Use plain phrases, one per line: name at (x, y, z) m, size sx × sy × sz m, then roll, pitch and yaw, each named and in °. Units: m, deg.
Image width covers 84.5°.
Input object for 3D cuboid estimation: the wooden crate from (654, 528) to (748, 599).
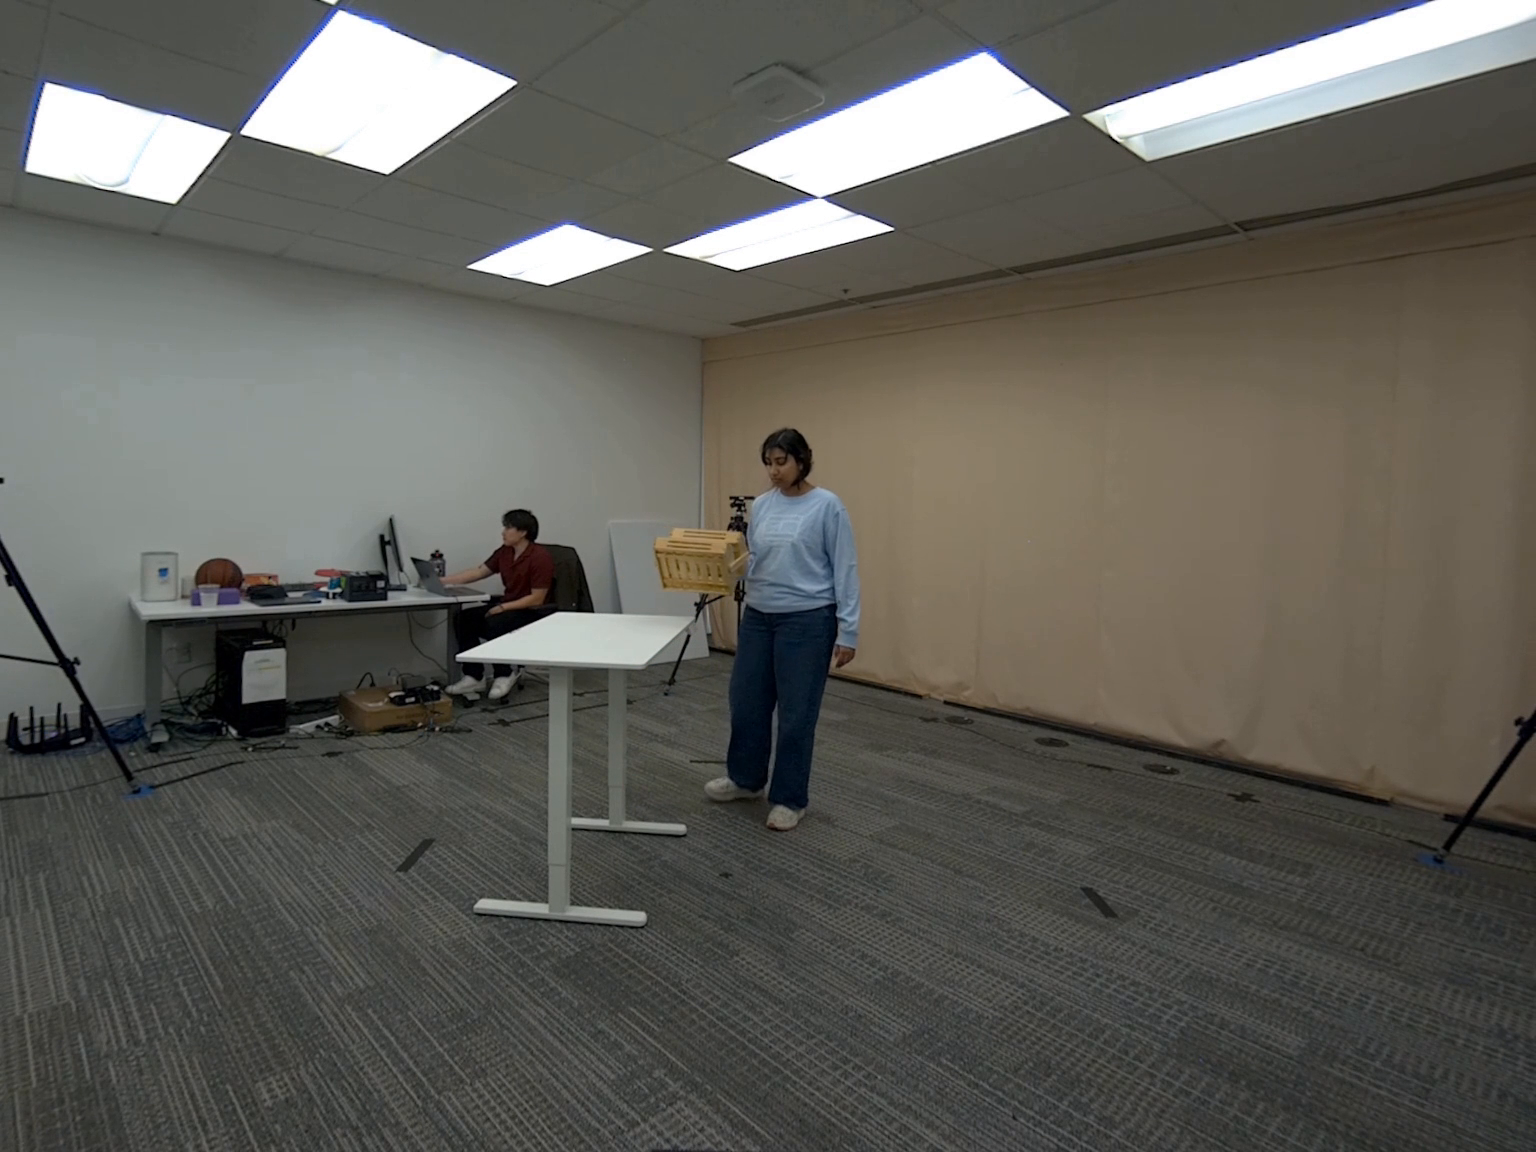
wooden crate at (-0.283, -0.092, 3.466) m, size 0.328 × 0.294 × 0.277 m, roll 5°, pitch 42°, yaw 14°
